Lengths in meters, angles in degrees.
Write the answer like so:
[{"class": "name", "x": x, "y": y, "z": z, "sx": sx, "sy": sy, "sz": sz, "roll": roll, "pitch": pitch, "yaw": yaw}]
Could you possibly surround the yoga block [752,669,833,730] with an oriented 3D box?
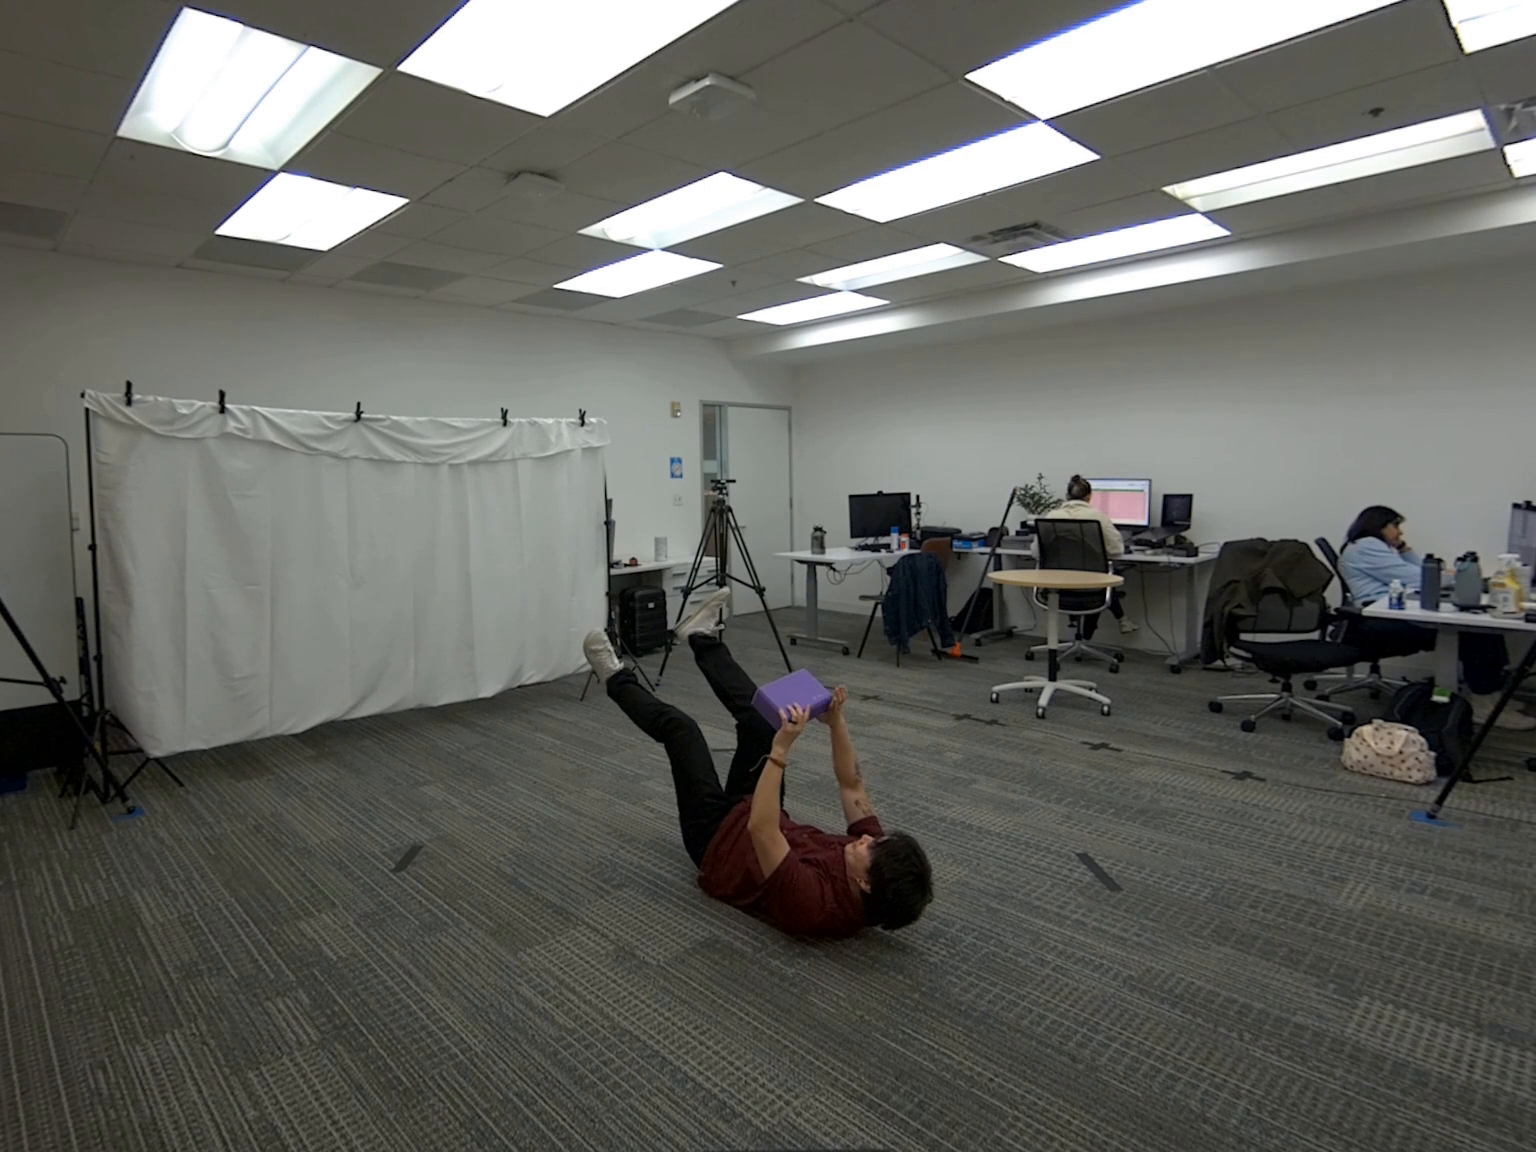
[{"class": "yoga block", "x": 0.082, "y": 0.398, "z": 2.750, "sx": 0.225, "sy": 0.075, "sz": 0.154, "roll": -17, "pitch": 47, "yaw": -40}]
